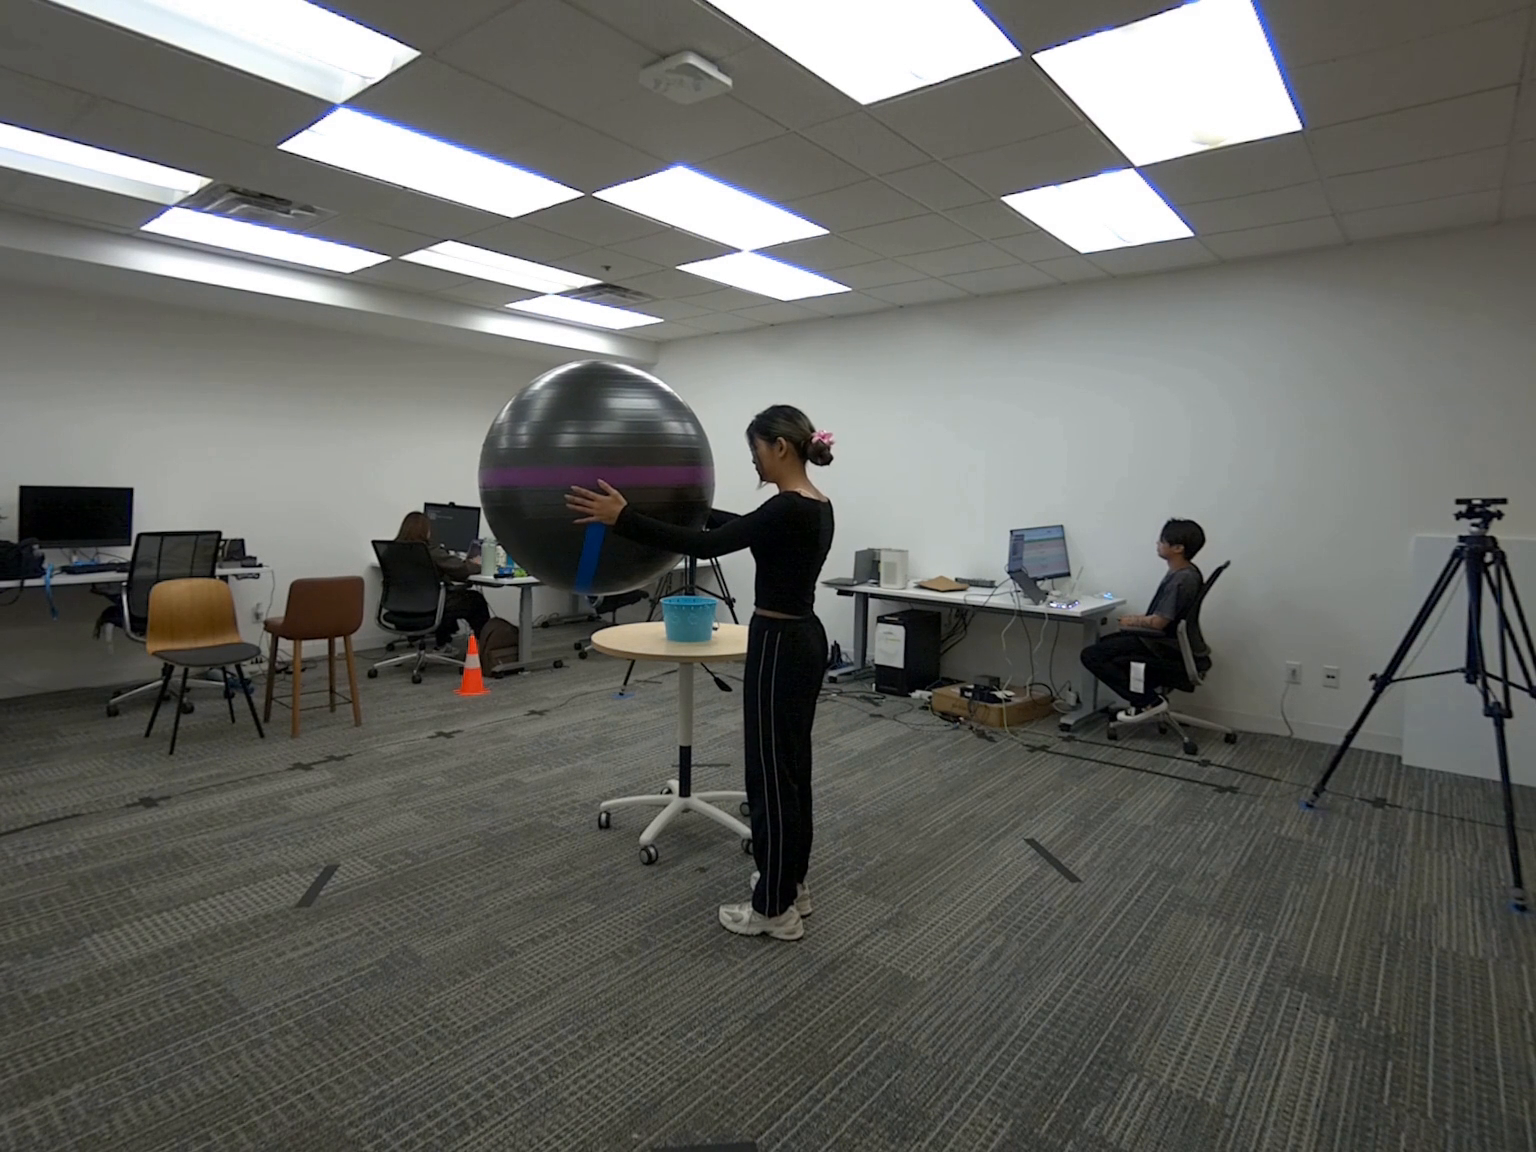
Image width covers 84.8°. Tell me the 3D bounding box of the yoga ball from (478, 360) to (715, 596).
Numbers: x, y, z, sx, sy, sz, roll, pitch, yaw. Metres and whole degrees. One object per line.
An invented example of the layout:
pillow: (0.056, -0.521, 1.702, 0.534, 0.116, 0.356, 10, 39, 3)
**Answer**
yoga ball: (-0.569, -0.315, 2.779, 0.757, 0.756, 0.762, 1, 4, -2)
